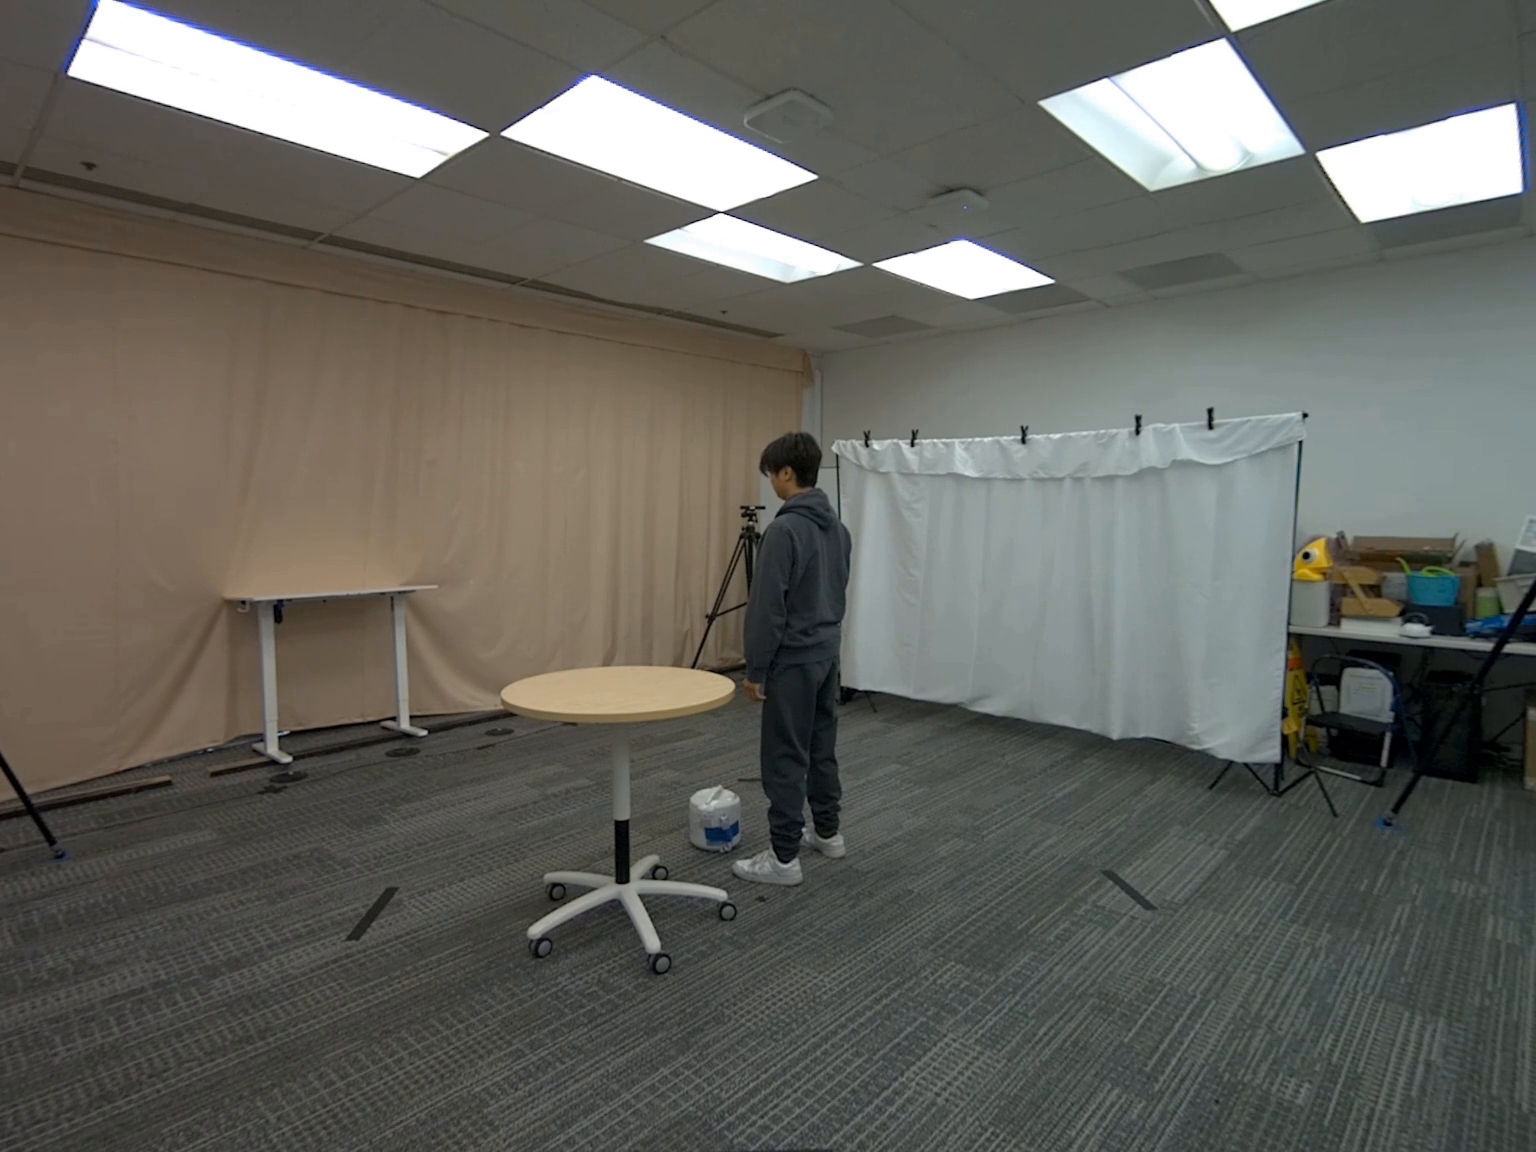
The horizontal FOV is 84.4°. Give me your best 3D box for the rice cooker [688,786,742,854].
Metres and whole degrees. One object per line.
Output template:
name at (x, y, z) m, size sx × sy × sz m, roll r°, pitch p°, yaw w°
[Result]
rice cooker at (-0.220, 0.993, 3.468) m, size 0.222 × 0.232 × 0.216 m, roll 1°, pitch 4°, yaw 20°
